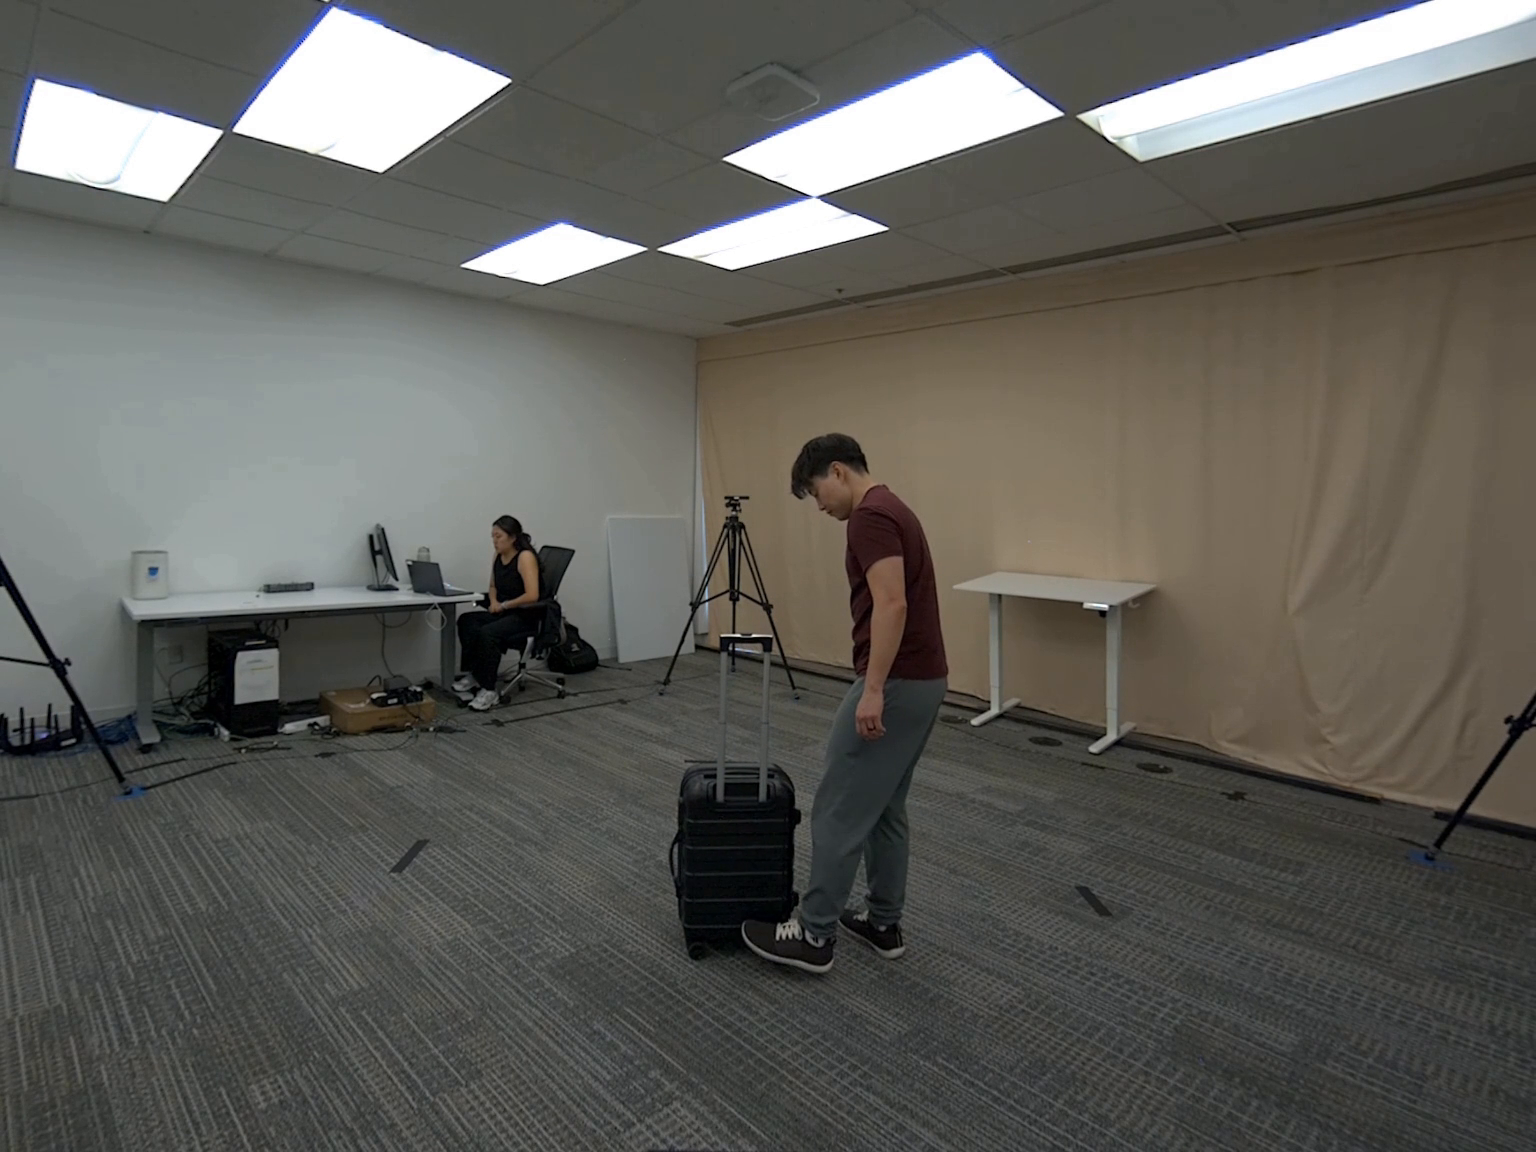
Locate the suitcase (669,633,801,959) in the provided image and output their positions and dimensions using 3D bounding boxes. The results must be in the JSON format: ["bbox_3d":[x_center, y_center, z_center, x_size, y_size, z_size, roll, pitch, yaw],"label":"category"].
[{"bbox_3d":[-0.104,0.676,2.629,0.382,0.976,0.259,0,4,-5],"label":"suitcase"}]
